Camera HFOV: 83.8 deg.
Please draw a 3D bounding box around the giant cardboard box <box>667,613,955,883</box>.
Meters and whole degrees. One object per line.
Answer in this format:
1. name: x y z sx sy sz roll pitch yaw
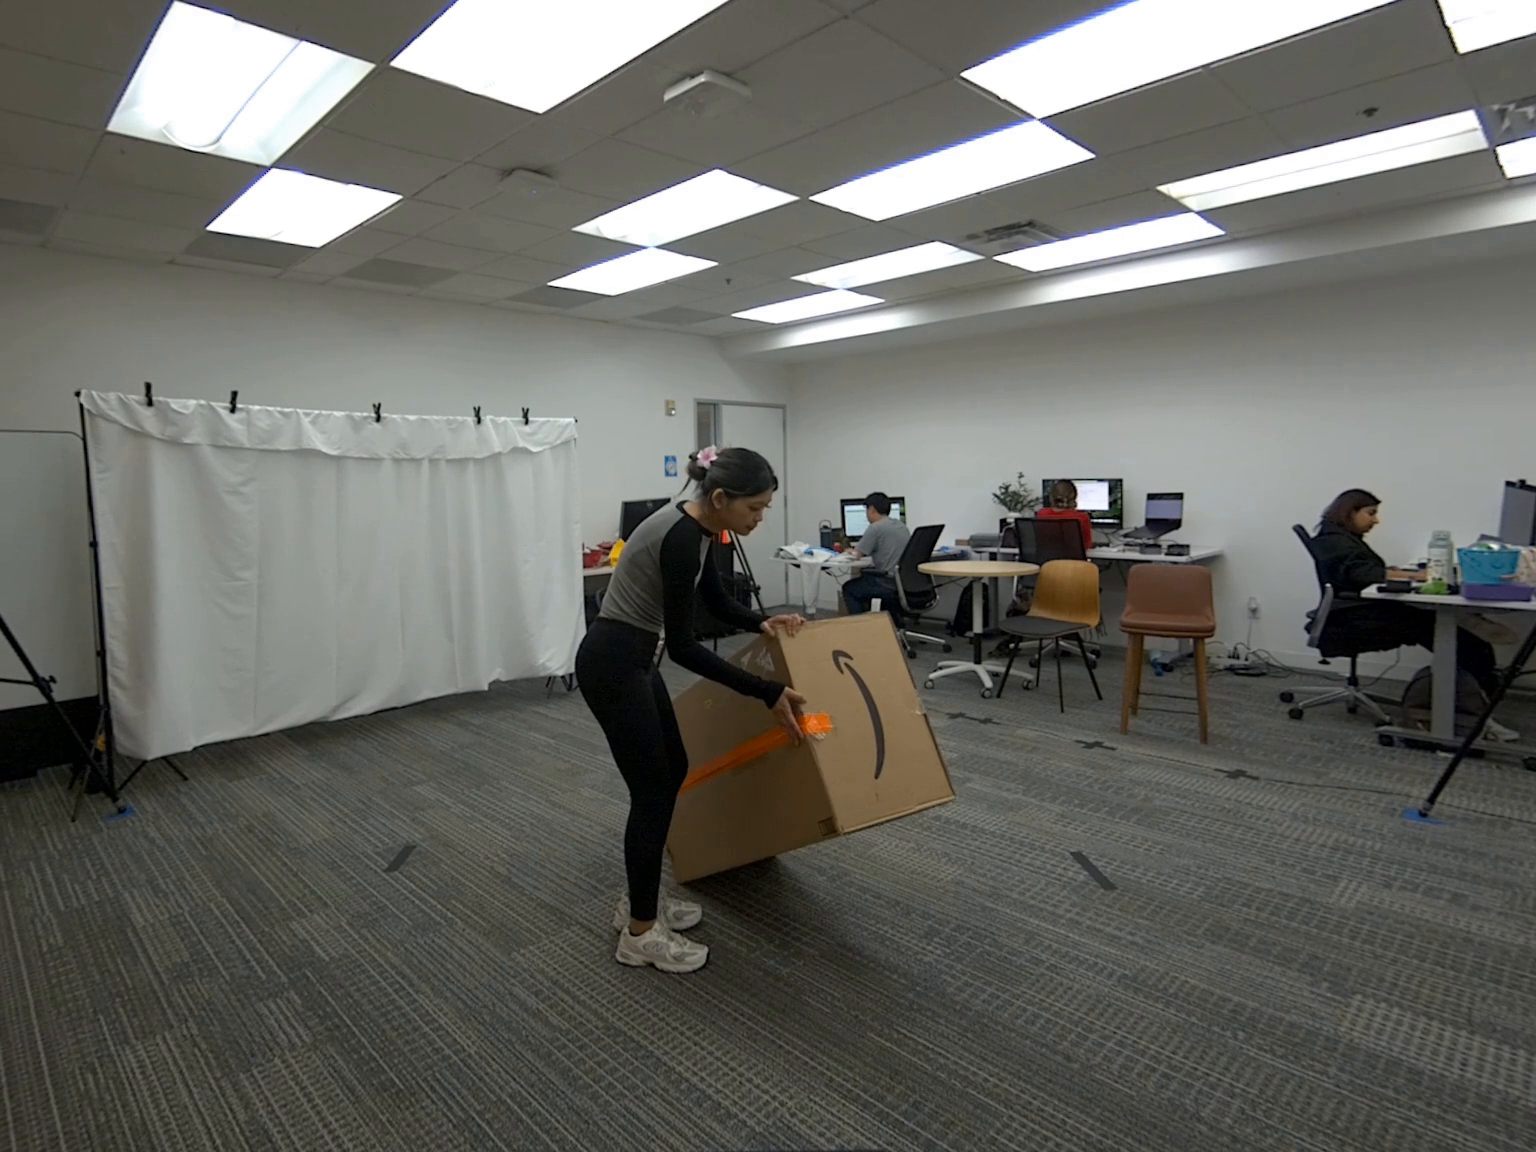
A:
1. giant cardboard box: 0.025 0.591 2.780 0.436 0.597 1.030 -5 -22 -34
